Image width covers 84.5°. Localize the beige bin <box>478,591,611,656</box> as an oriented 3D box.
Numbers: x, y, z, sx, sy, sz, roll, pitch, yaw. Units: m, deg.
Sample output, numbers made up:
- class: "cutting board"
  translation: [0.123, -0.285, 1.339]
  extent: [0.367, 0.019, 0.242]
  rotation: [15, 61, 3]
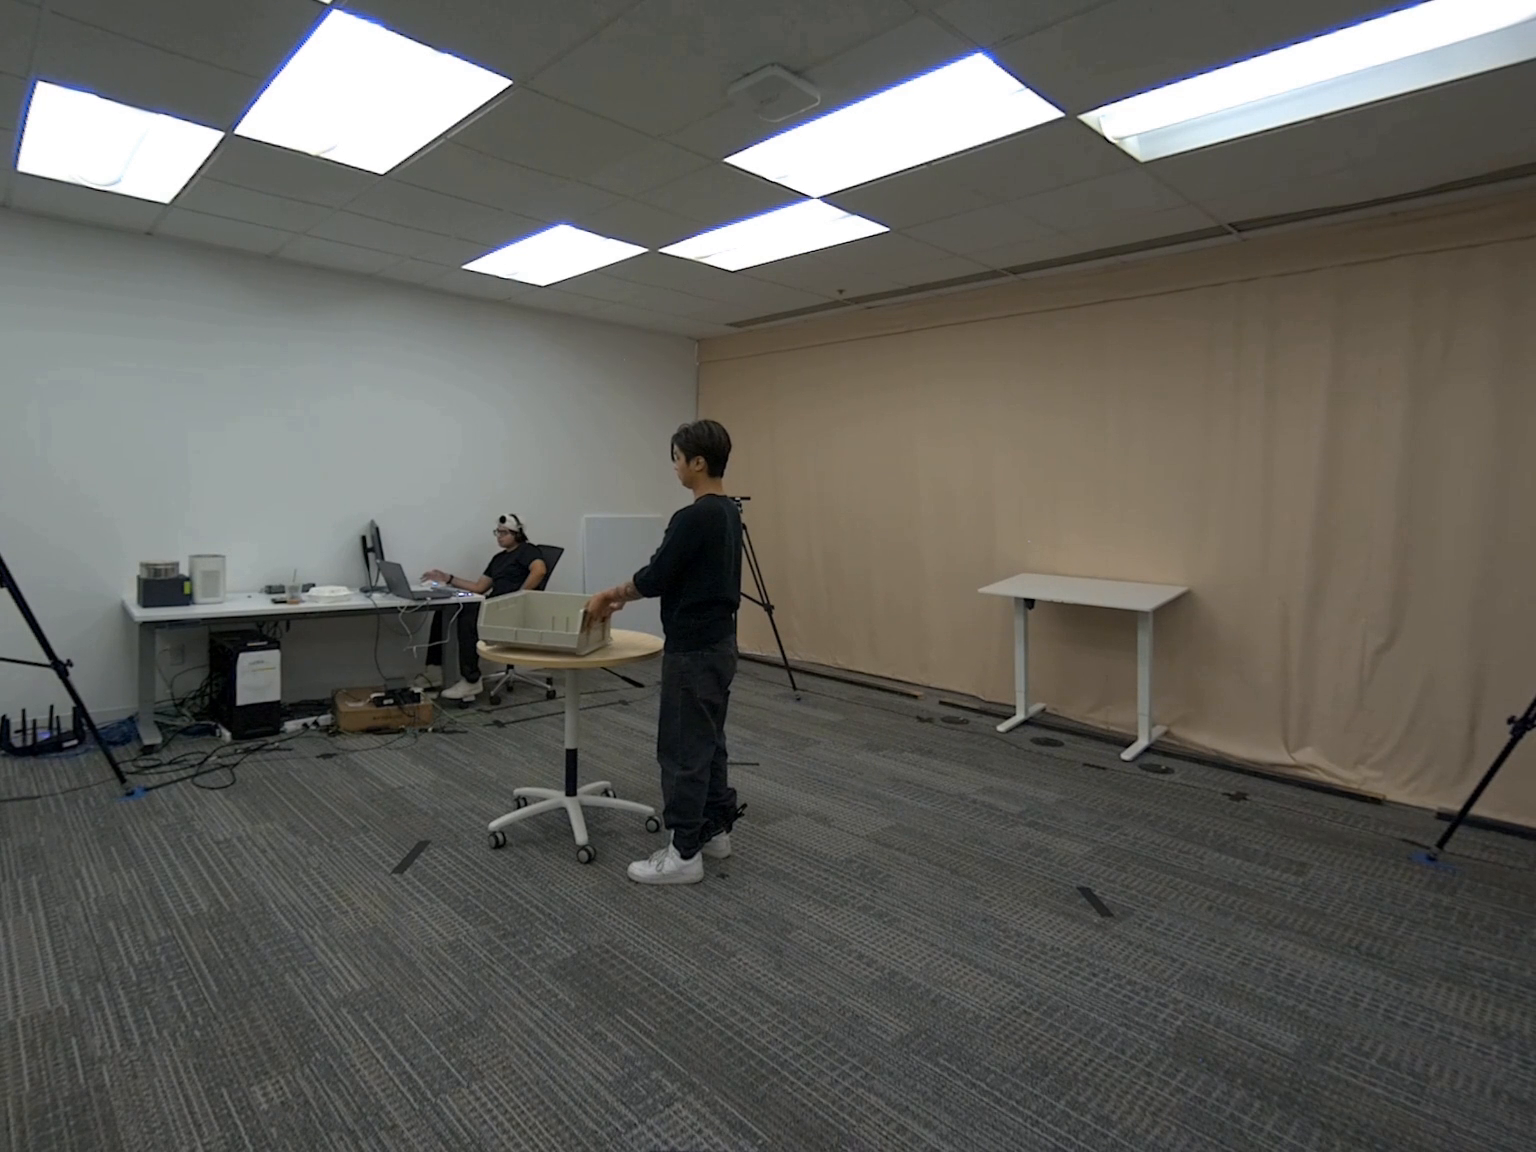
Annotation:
- class: "beige bin"
  translation: [-0.867, 0.181, 3.338]
  extent: [0.426, 0.188, 0.375]
  rotation: [3, 4, 11]
